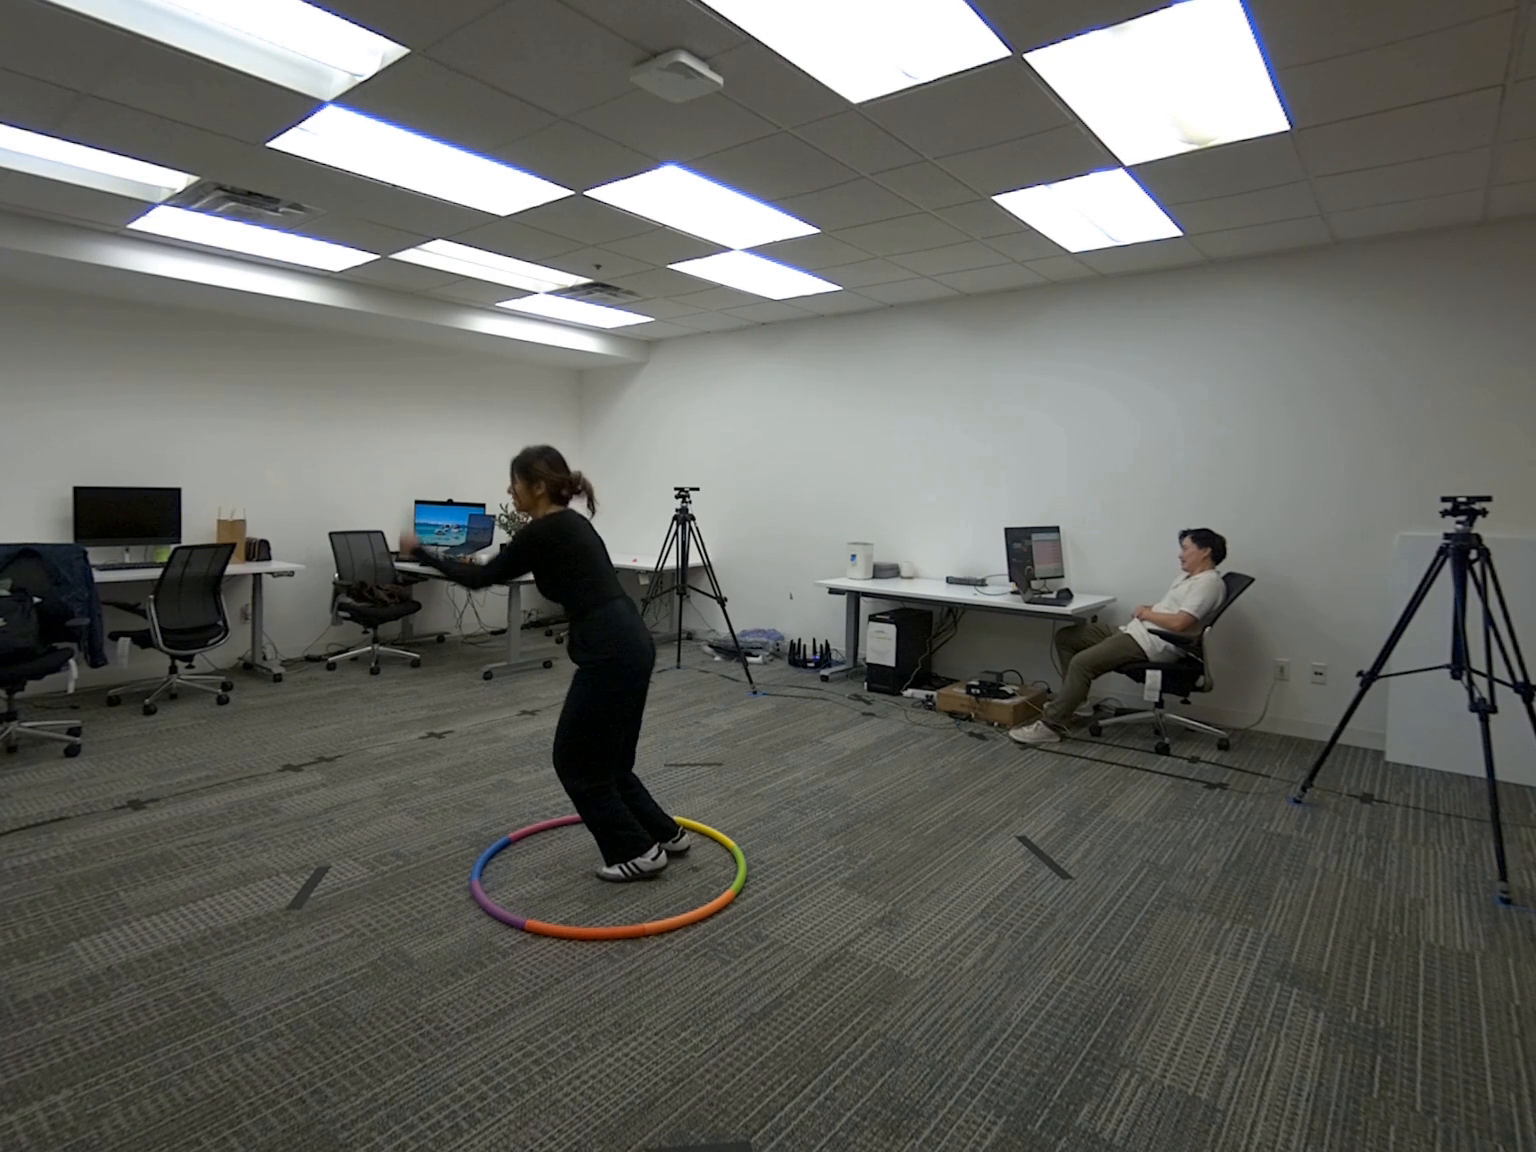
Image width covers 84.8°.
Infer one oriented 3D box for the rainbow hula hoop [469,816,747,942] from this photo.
[{"bbox_3d":[-0.573,1.035,3.082,0.978,0.035,0.984,1,6,-2],"label":"rainbow hula hoop"}]
